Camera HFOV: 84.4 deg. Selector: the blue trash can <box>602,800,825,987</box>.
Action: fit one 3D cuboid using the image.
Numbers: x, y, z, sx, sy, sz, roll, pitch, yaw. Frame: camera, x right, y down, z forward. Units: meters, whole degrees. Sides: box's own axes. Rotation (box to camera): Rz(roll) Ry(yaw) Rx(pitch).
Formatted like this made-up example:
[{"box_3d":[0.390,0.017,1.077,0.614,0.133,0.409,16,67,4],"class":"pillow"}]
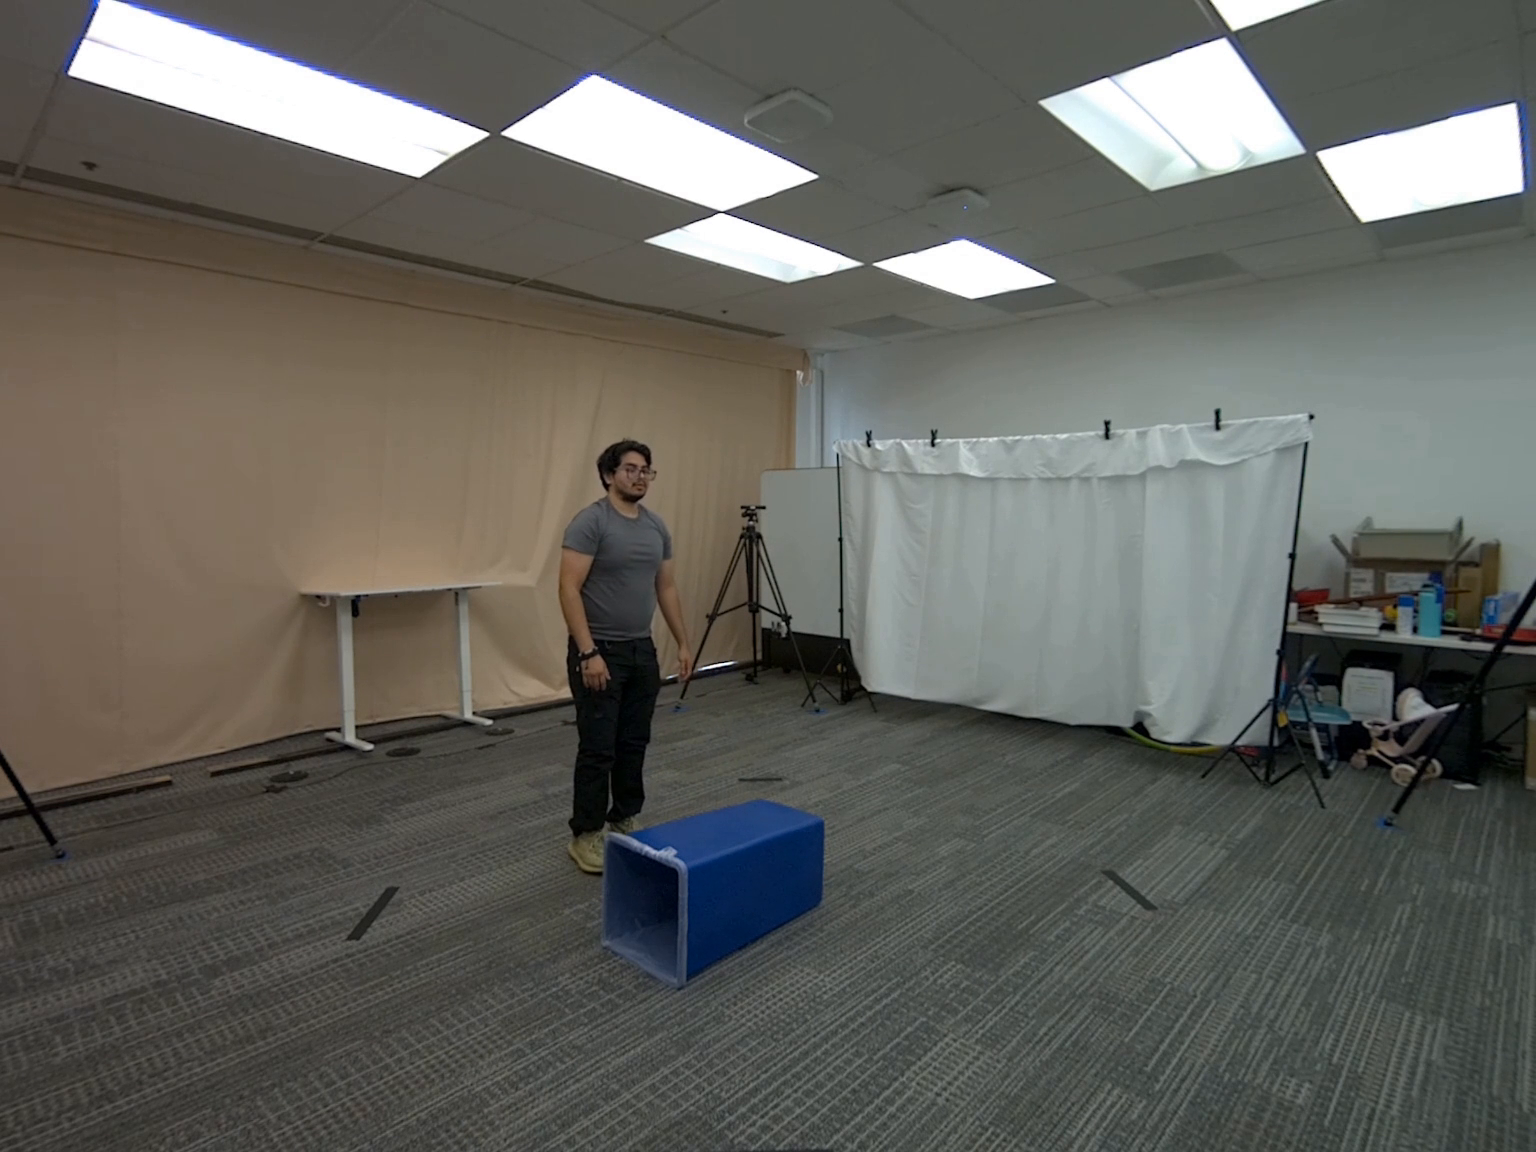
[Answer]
[{"box_3d":[-0.143,0.989,2.781,0.386,0.378,0.691,3,3,44],"class":"blue trash can"}]
